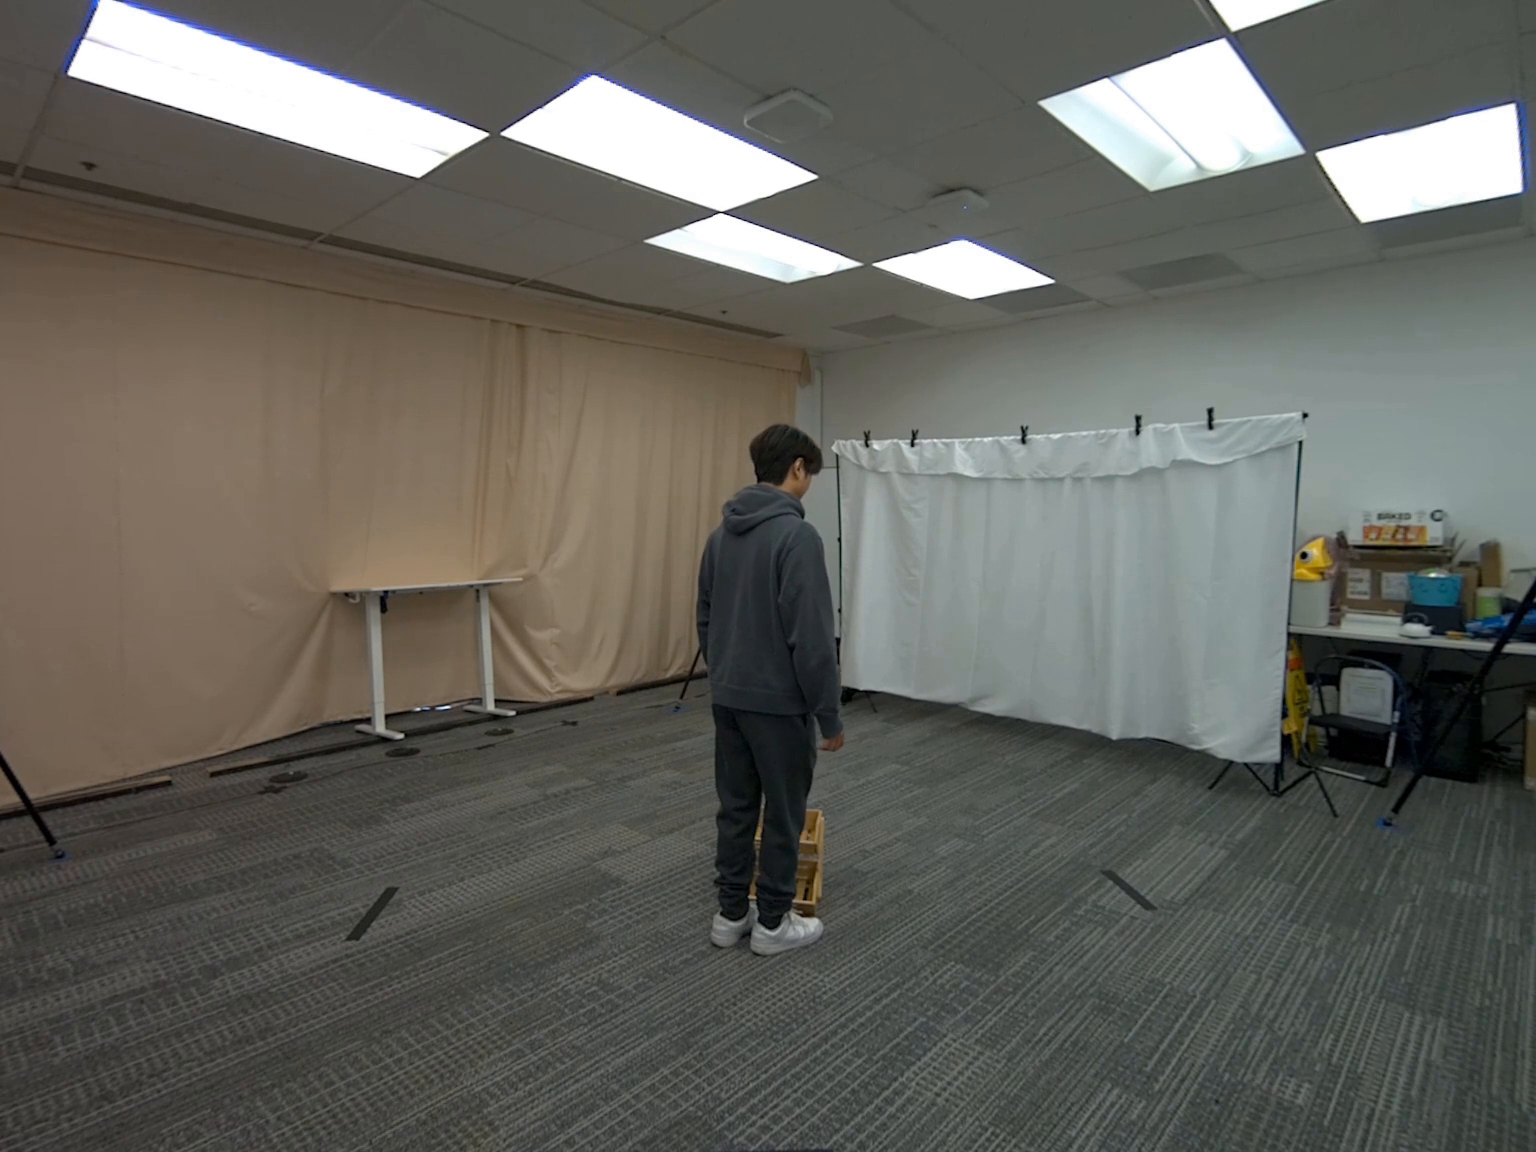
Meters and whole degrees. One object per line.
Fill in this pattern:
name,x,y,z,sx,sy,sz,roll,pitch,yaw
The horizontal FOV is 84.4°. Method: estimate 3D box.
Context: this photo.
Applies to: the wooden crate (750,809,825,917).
wooden crate,0.036,1.010,3.009,0.328,0.273,0.299,0,3,9
